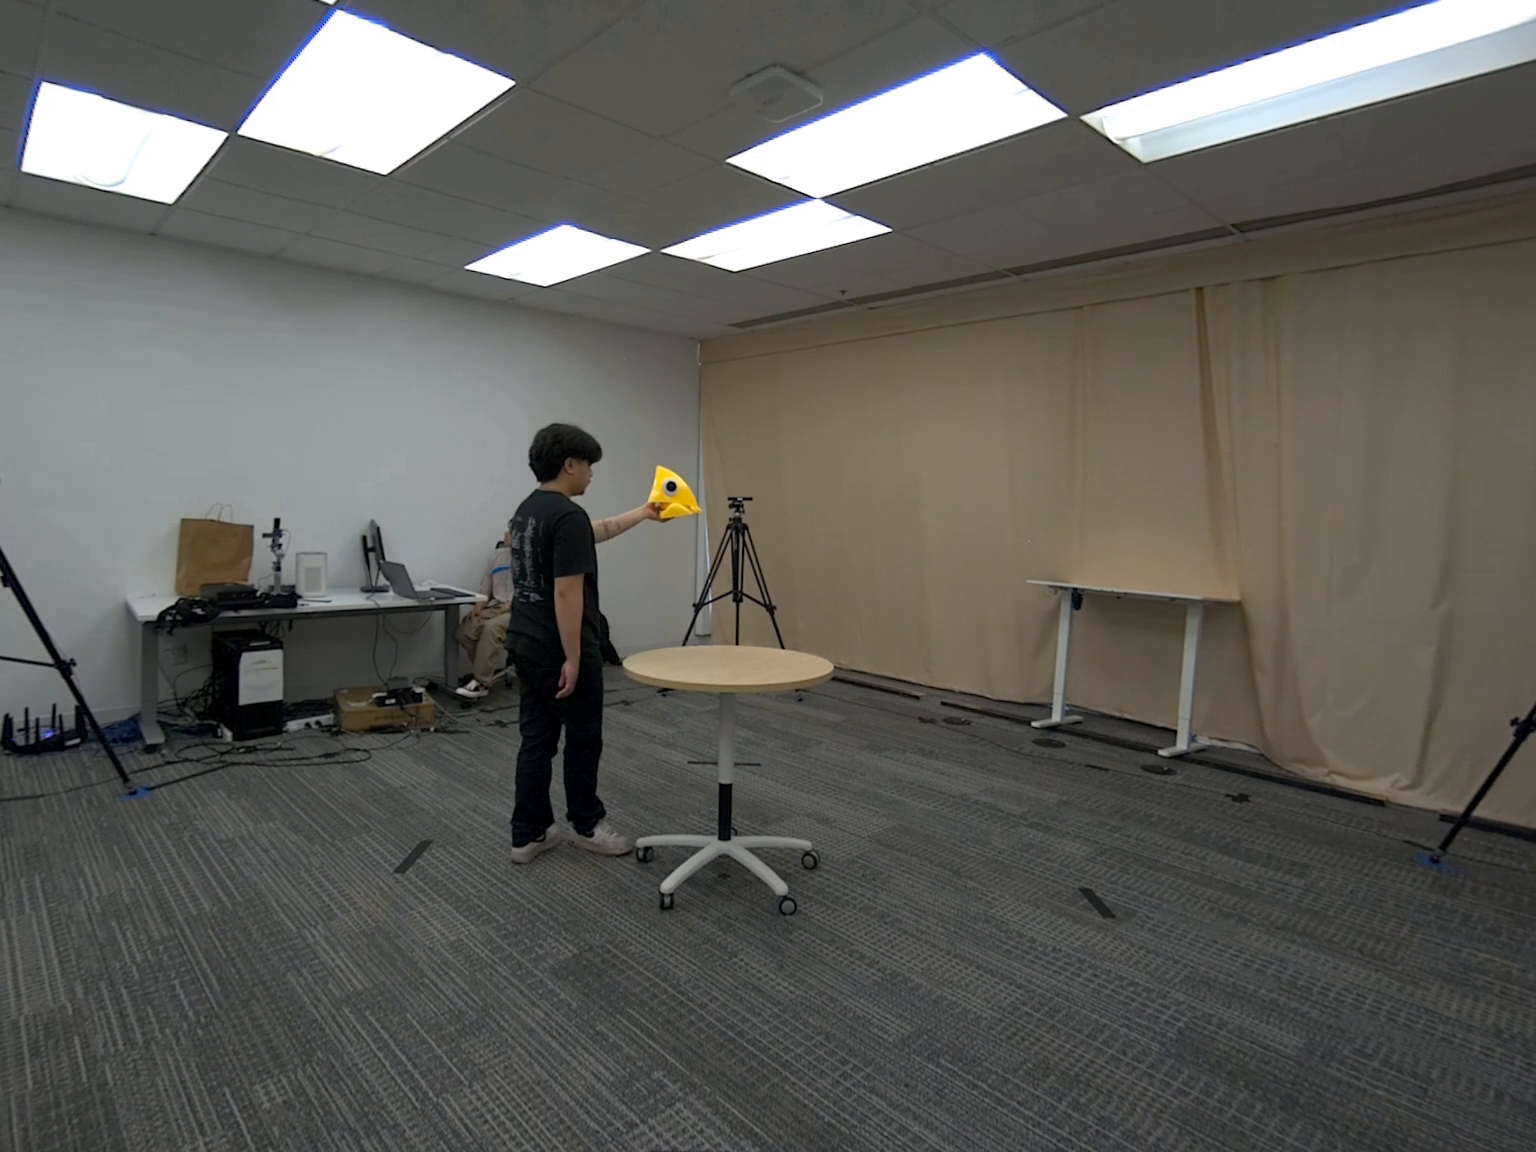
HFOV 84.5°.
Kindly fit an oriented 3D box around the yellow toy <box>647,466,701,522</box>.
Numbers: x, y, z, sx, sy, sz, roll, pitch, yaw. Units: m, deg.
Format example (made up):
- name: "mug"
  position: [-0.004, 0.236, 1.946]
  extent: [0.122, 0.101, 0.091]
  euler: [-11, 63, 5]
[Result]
- name: "yellow toy"
  position: [-0.423, -0.382, 3.693]
  extent: [0.195, 0.230, 0.203]
  euler: [-7, 4, 16]
